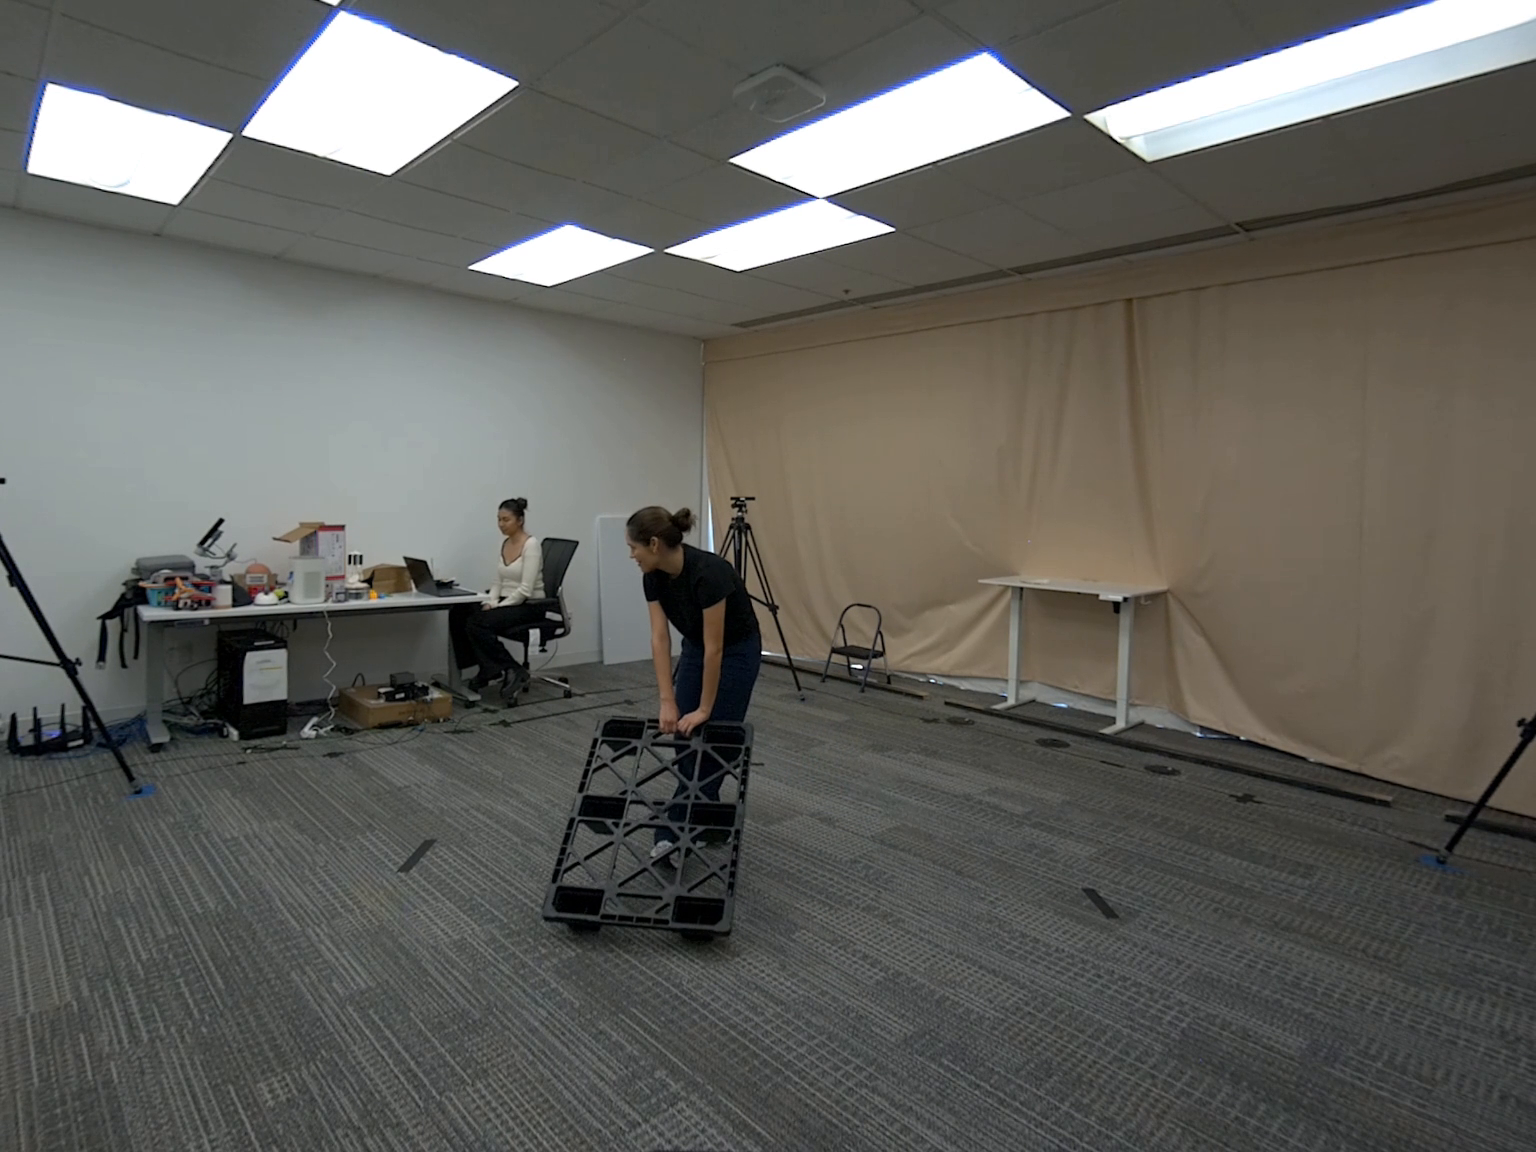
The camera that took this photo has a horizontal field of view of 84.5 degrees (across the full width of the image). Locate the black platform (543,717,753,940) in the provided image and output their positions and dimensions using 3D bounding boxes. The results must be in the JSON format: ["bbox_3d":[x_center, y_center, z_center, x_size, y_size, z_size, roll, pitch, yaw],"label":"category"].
[{"bbox_3d":[-0.377,0.849,2.903,0.608,0.140,0.820,1,41,5],"label":"black platform"}]
